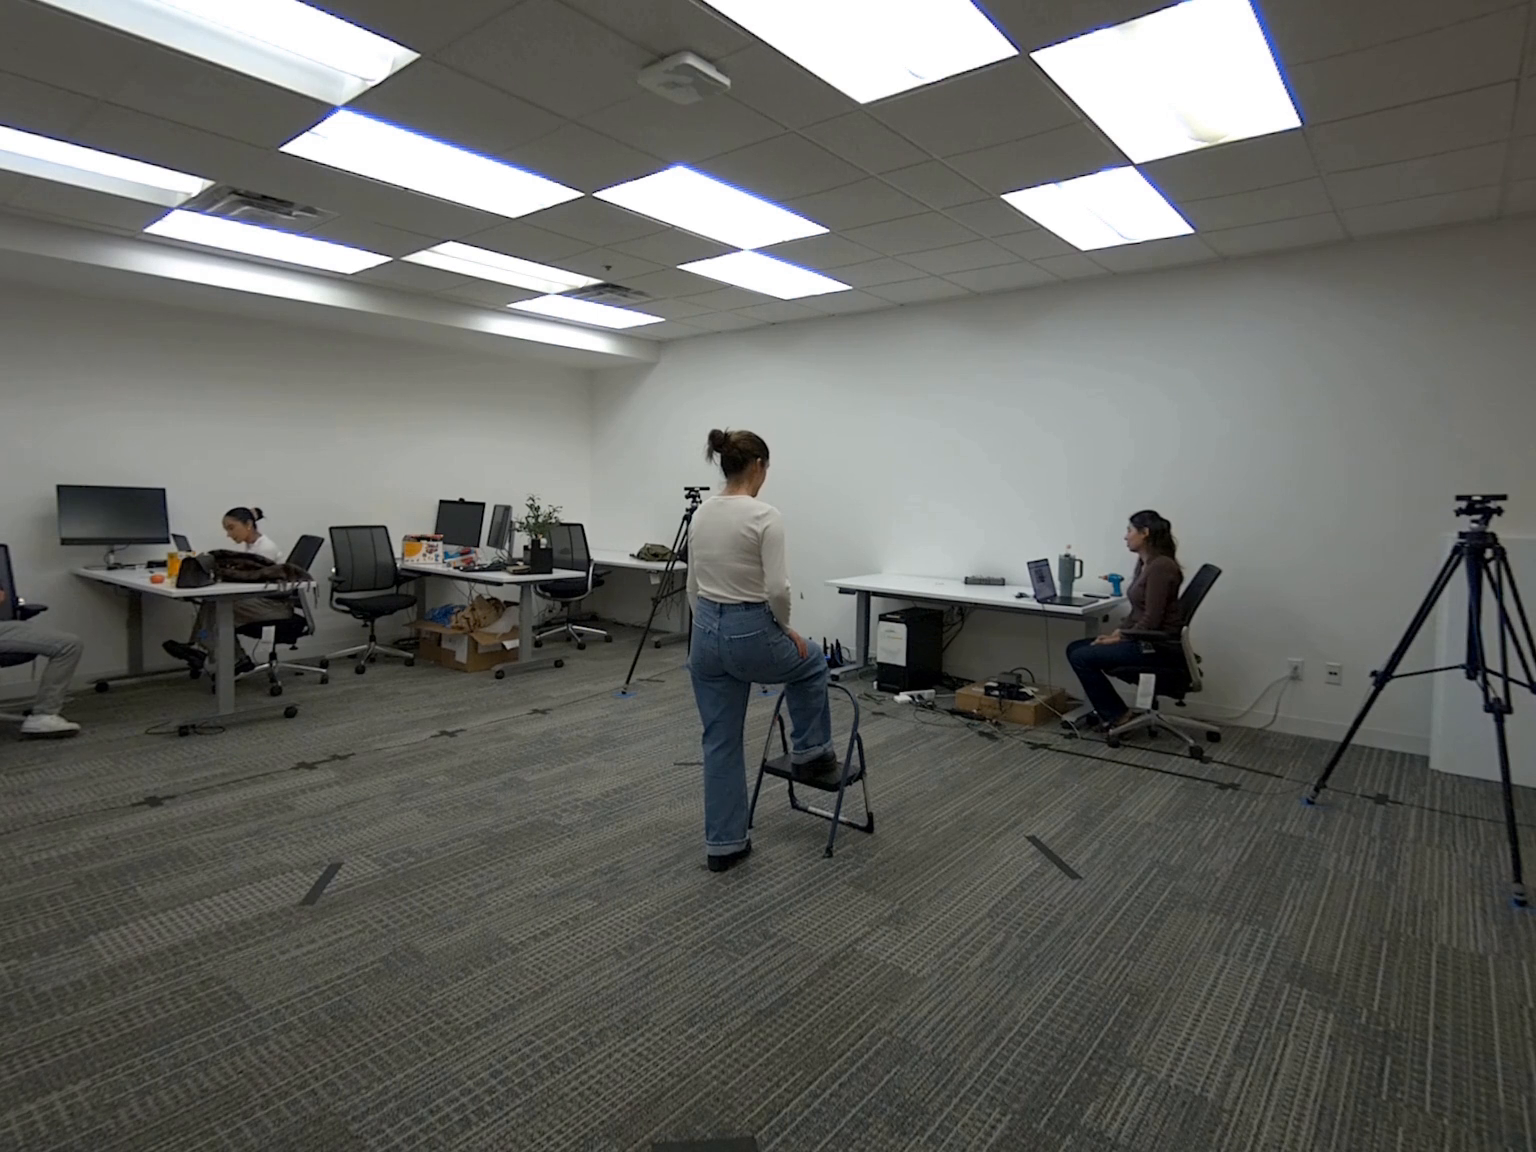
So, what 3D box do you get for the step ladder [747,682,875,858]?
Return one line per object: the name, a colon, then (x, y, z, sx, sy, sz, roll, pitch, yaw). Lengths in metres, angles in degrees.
step ladder: (0.168, 0.735, 3.465, 0.445, 0.604, 0.339, 4, 5, 39)
